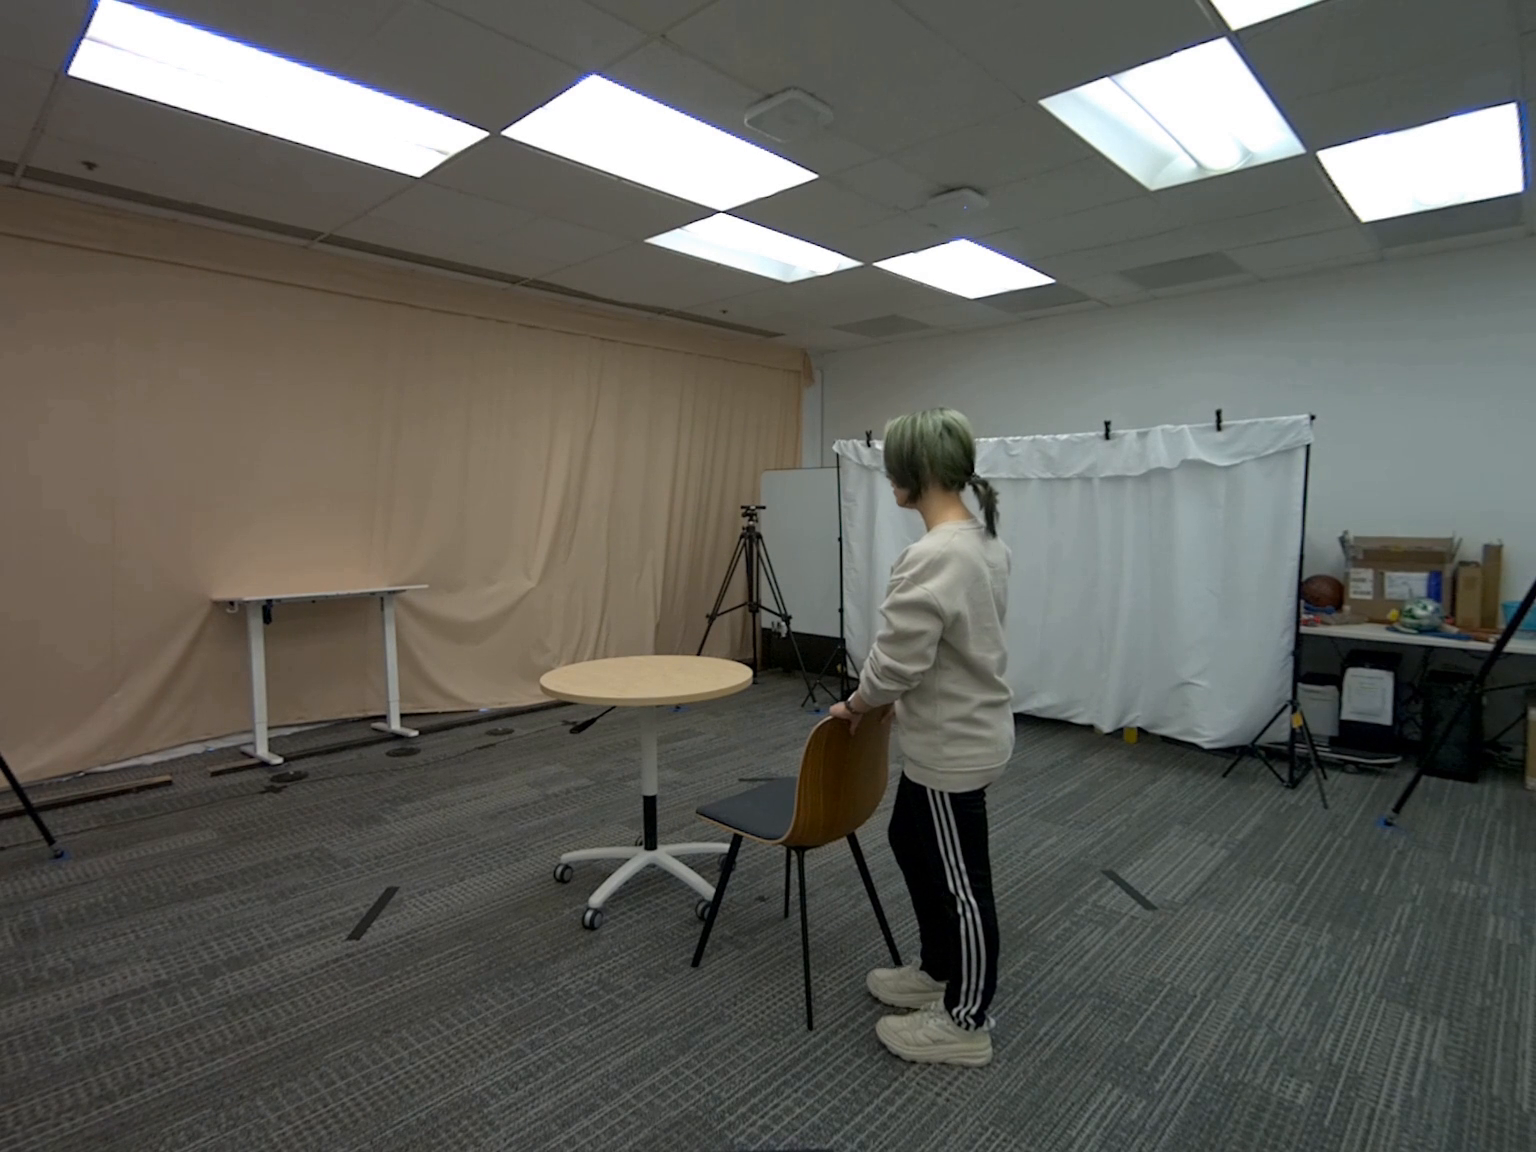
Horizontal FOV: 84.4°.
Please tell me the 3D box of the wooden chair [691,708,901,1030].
[{"bbox_3d":[0.078,0.753,2.525,0.541,0.874,0.463,9,9,42],"label":"wooden chair"}]
